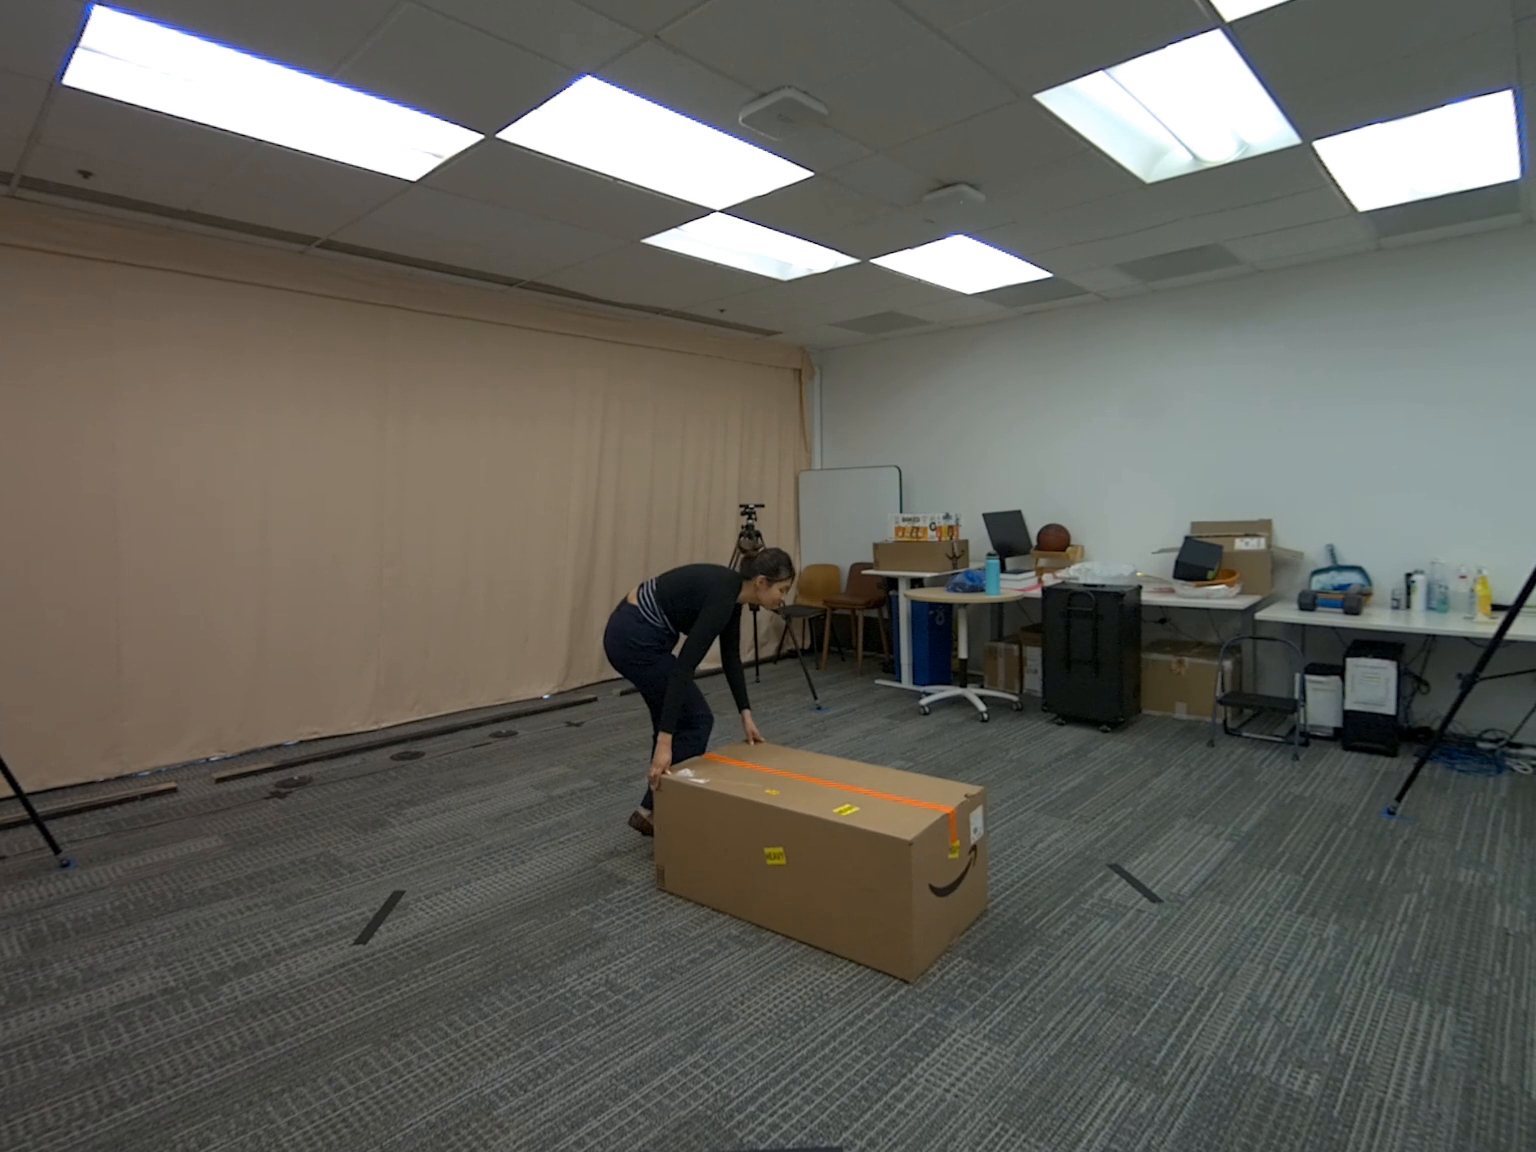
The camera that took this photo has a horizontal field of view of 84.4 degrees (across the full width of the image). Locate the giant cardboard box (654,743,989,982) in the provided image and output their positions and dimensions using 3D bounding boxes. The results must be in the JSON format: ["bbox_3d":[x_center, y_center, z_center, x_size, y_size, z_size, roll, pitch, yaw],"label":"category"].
[{"bbox_3d":[0.170,0.922,2.957,1.059,0.425,0.561,3,6,38],"label":"giant cardboard box"}]
